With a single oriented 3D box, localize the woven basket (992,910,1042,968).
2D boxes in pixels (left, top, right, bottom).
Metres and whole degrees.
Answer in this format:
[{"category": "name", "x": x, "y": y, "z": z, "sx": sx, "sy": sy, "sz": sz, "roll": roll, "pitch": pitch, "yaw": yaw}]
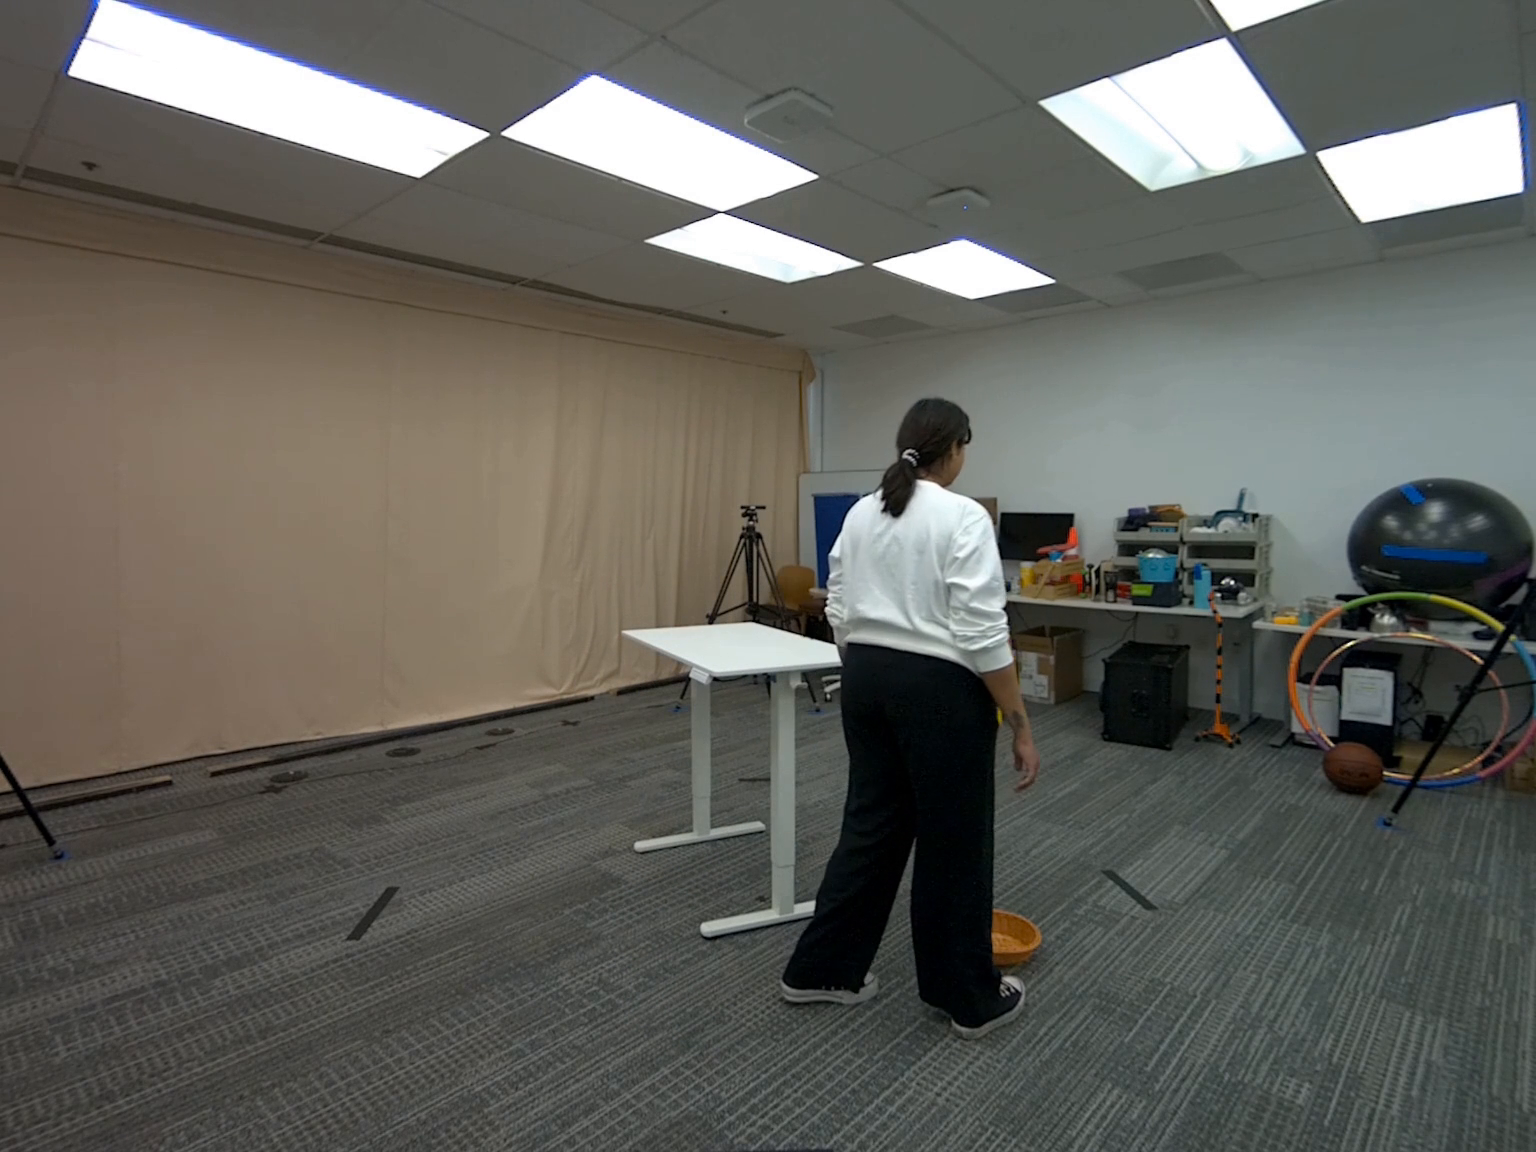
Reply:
[{"category": "woven basket", "x": 0.678, "y": 1.132, "z": 2.627, "sx": 0.352, "sy": 0.073, "sz": 0.252, "roll": 1, "pitch": 6, "yaw": 2}]
